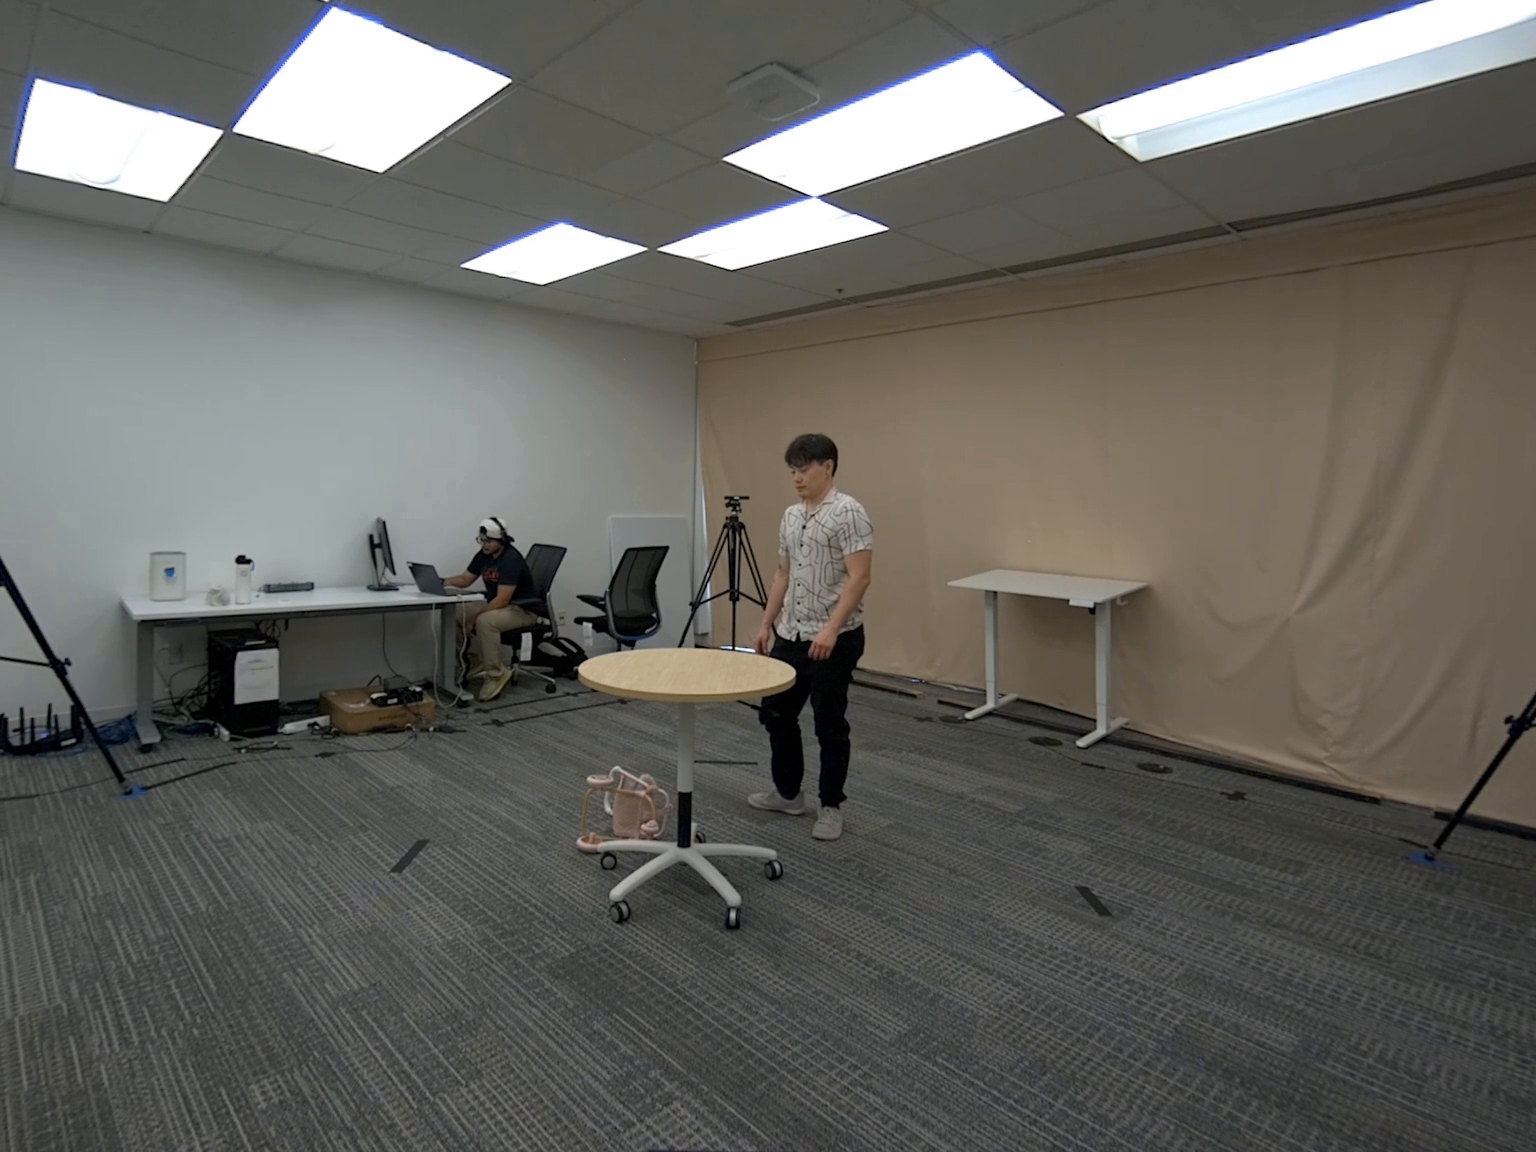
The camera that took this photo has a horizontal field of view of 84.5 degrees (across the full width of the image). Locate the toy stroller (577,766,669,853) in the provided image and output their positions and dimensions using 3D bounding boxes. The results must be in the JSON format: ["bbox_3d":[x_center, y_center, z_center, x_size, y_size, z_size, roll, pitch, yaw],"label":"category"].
[{"bbox_3d":[-0.570,0.945,3.444,0.343,0.282,0.531,4,-3,5],"label":"toy stroller"}]
